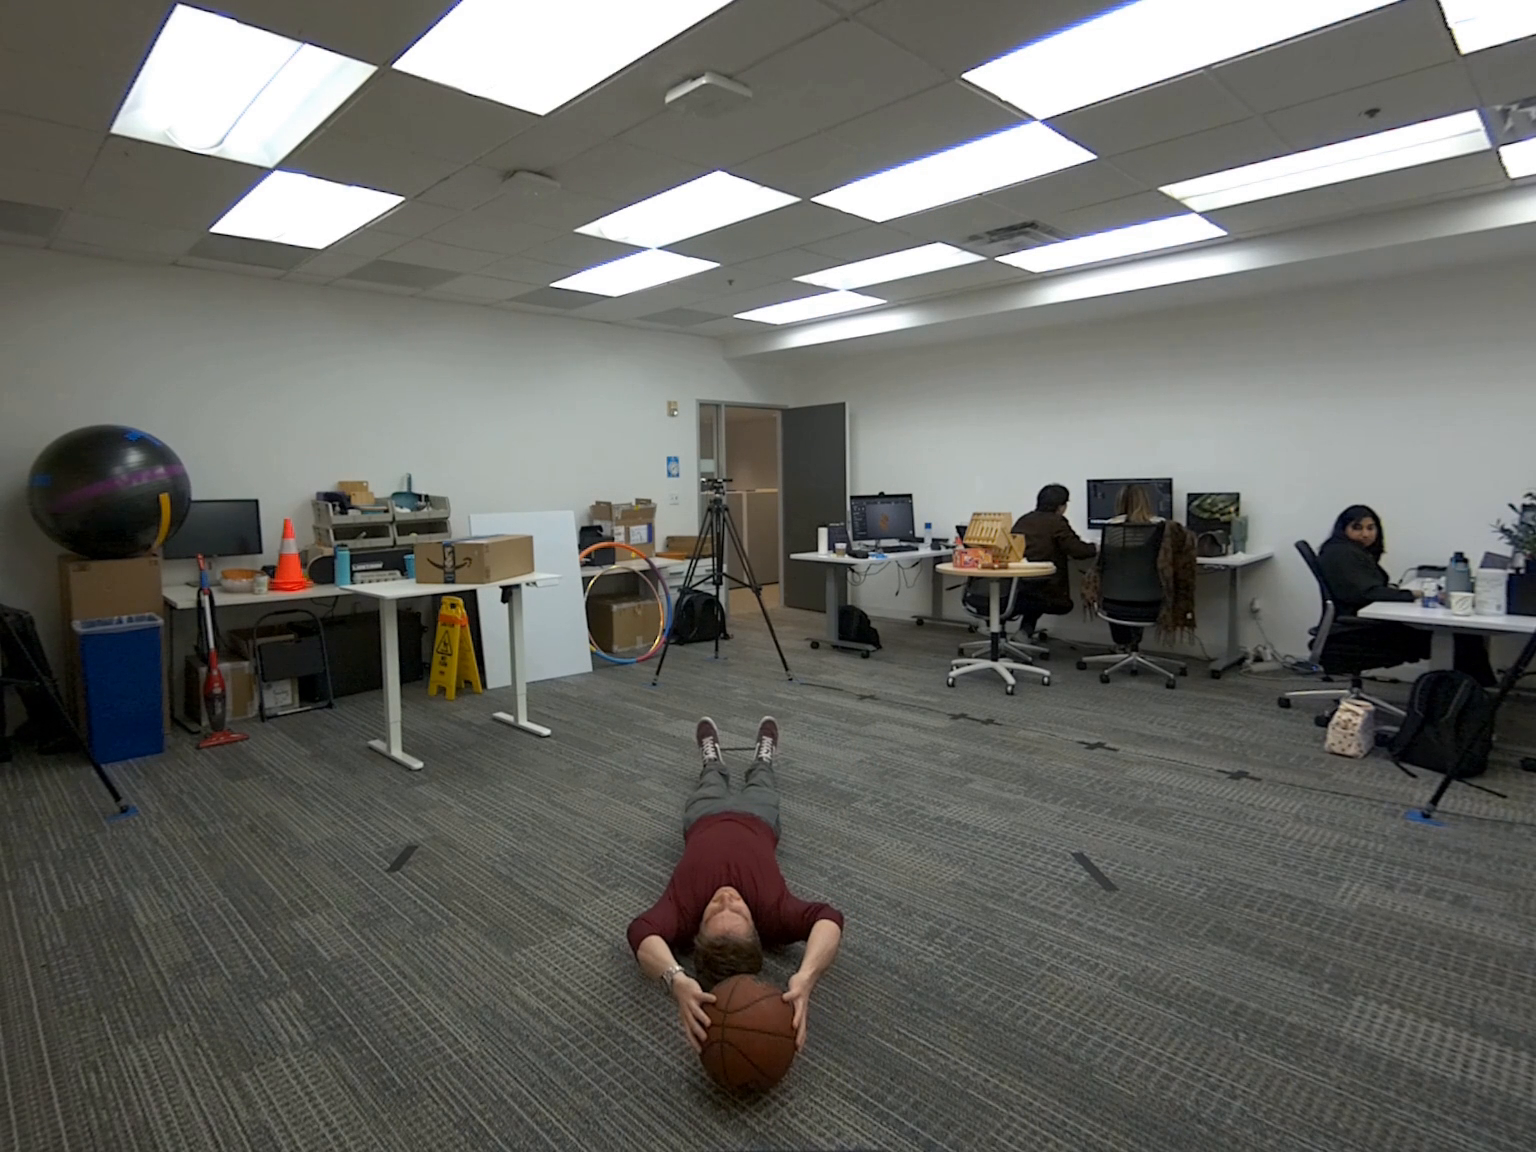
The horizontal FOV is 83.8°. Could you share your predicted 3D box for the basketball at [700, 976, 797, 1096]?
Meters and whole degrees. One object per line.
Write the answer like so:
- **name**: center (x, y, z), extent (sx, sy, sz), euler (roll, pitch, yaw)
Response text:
- **basketball**: center (-0.038, 1.060, 1.971), extent (0.236, 0.235, 0.237), euler (-1, 5, -2)
